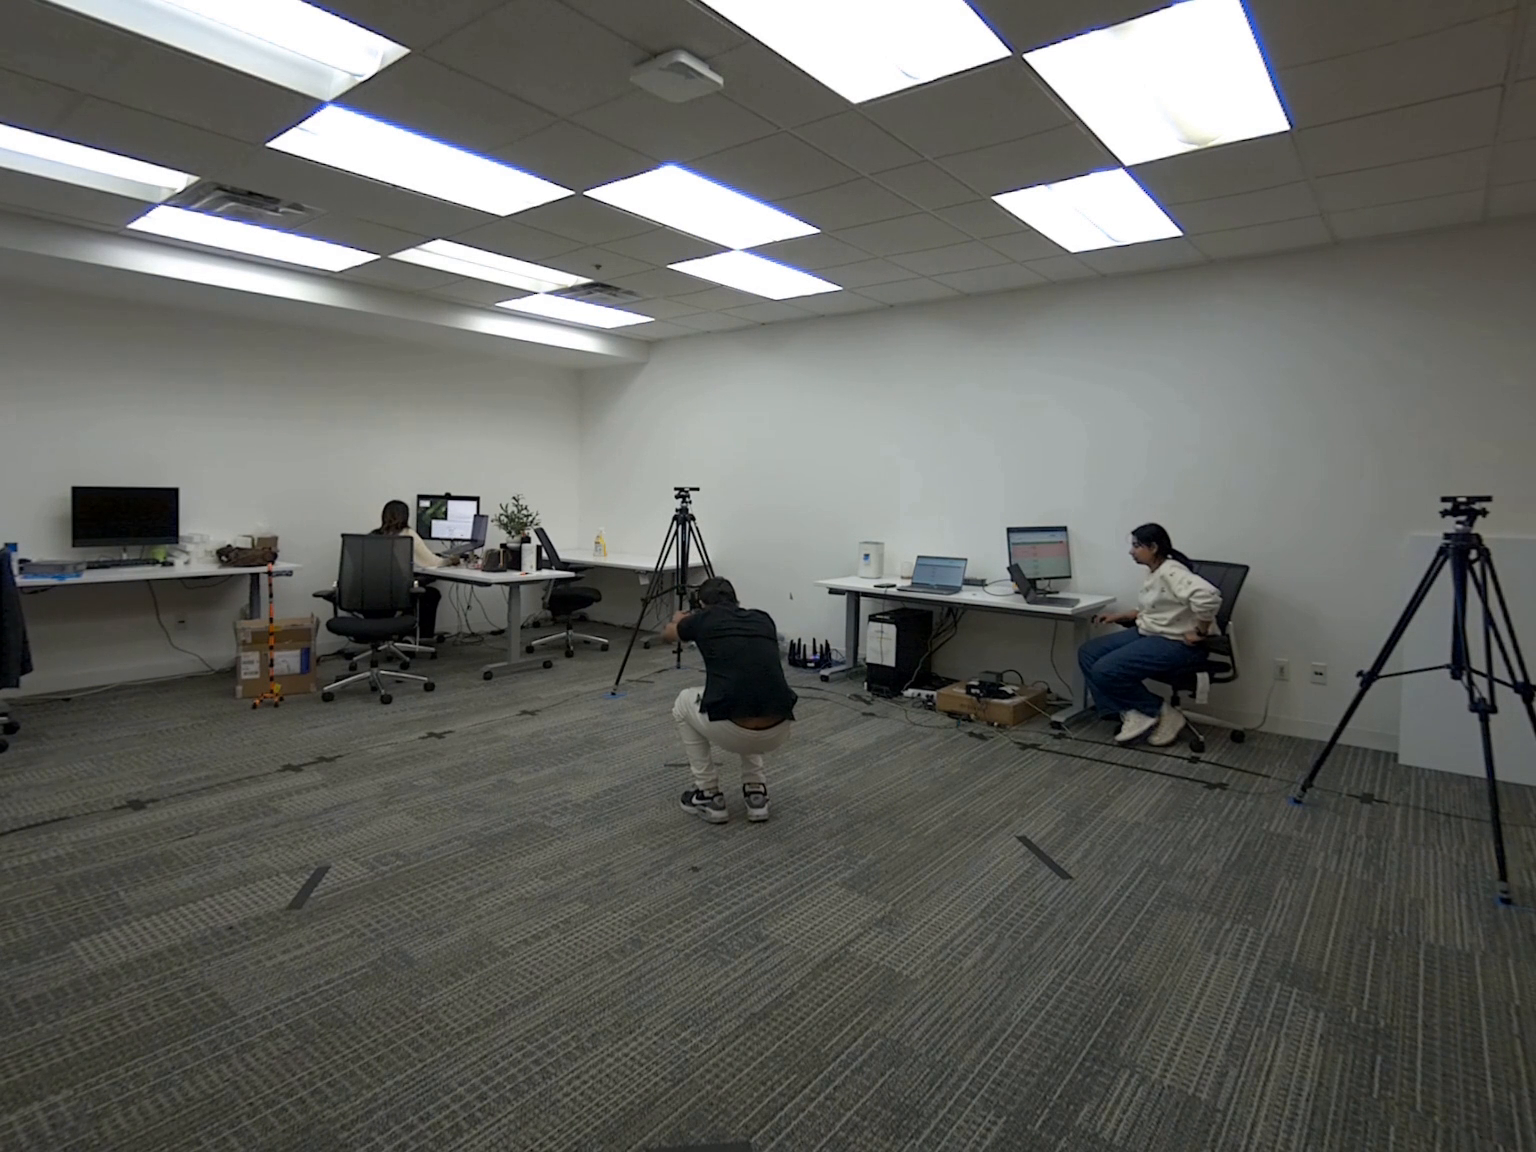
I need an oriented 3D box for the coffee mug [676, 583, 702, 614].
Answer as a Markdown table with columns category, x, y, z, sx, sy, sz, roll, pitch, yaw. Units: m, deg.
| category | x | y | z | sx | sy | sz | roll | pitch | yaw |
| --- | --- | --- | --- | --- | --- | --- | --- | --- | --- |
| coffee mug | -0.389 | 0.141 | 4.256 | 0.118 | 0.203 | 0.091 | 1 | 1 | -44 |
